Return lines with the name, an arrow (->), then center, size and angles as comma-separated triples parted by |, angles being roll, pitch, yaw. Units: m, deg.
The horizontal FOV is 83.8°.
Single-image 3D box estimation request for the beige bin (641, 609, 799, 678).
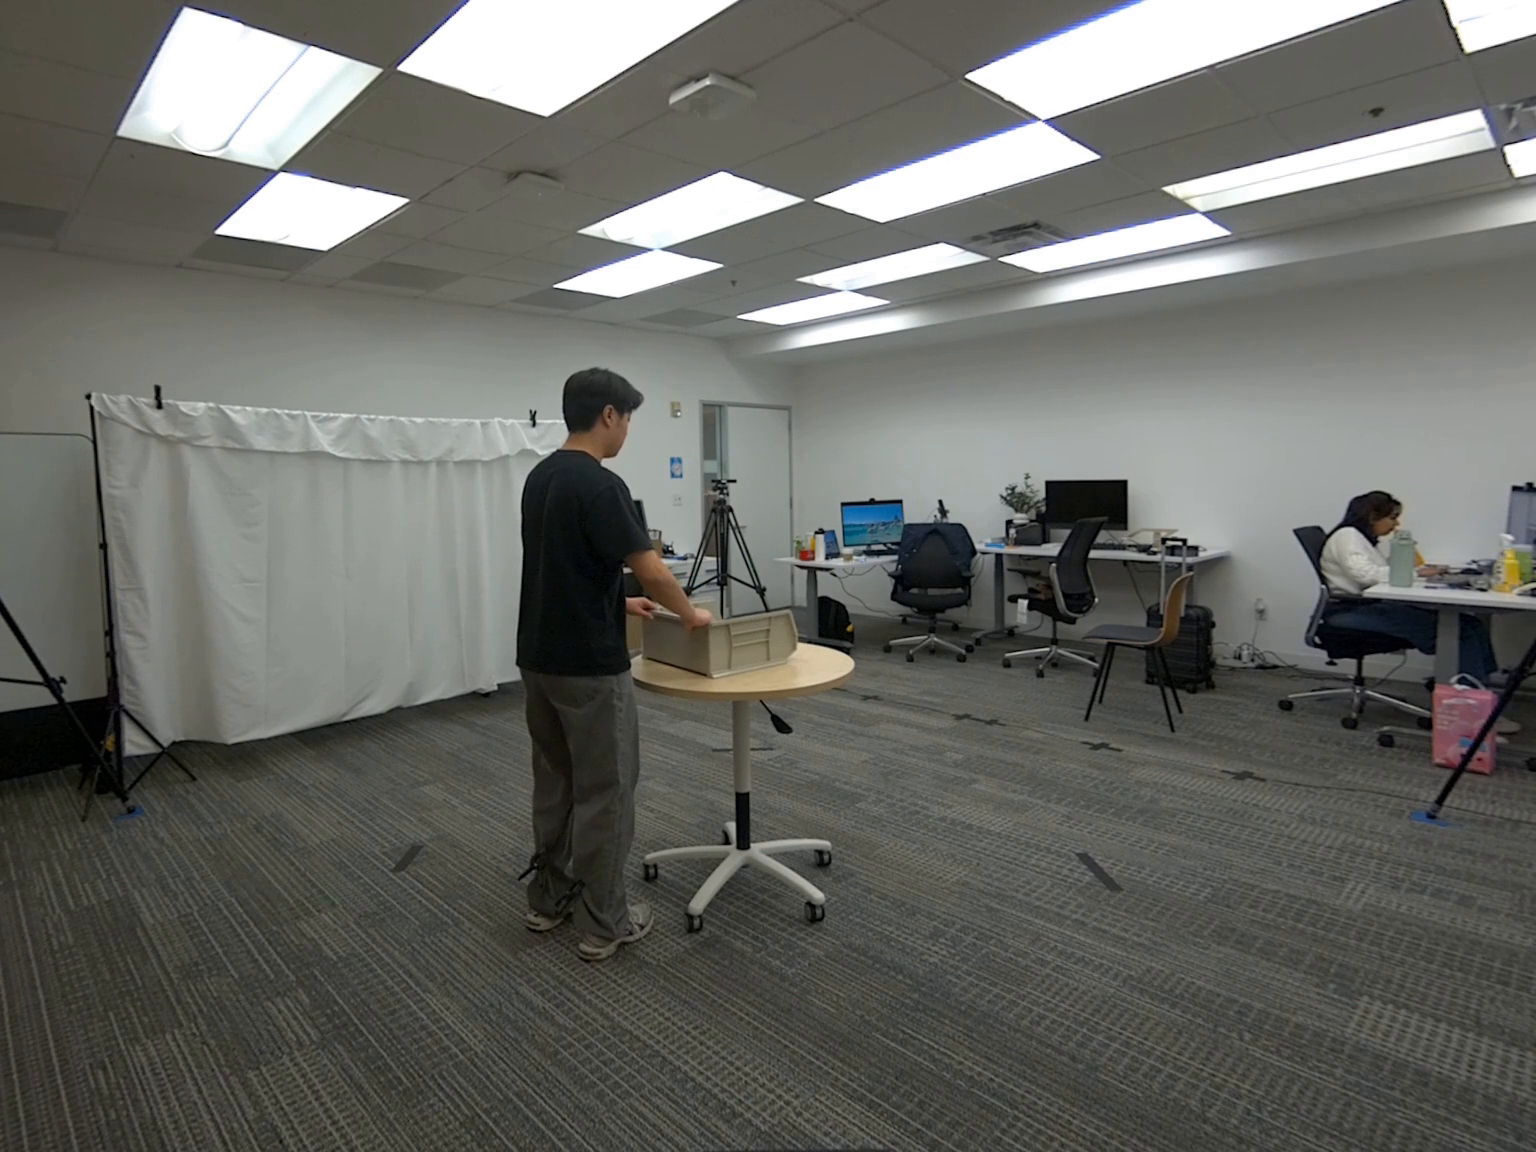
beige bin -> -0.174, 0.200, 2.921 | 0.368, 0.188, 0.435 | -8, 10, -39
